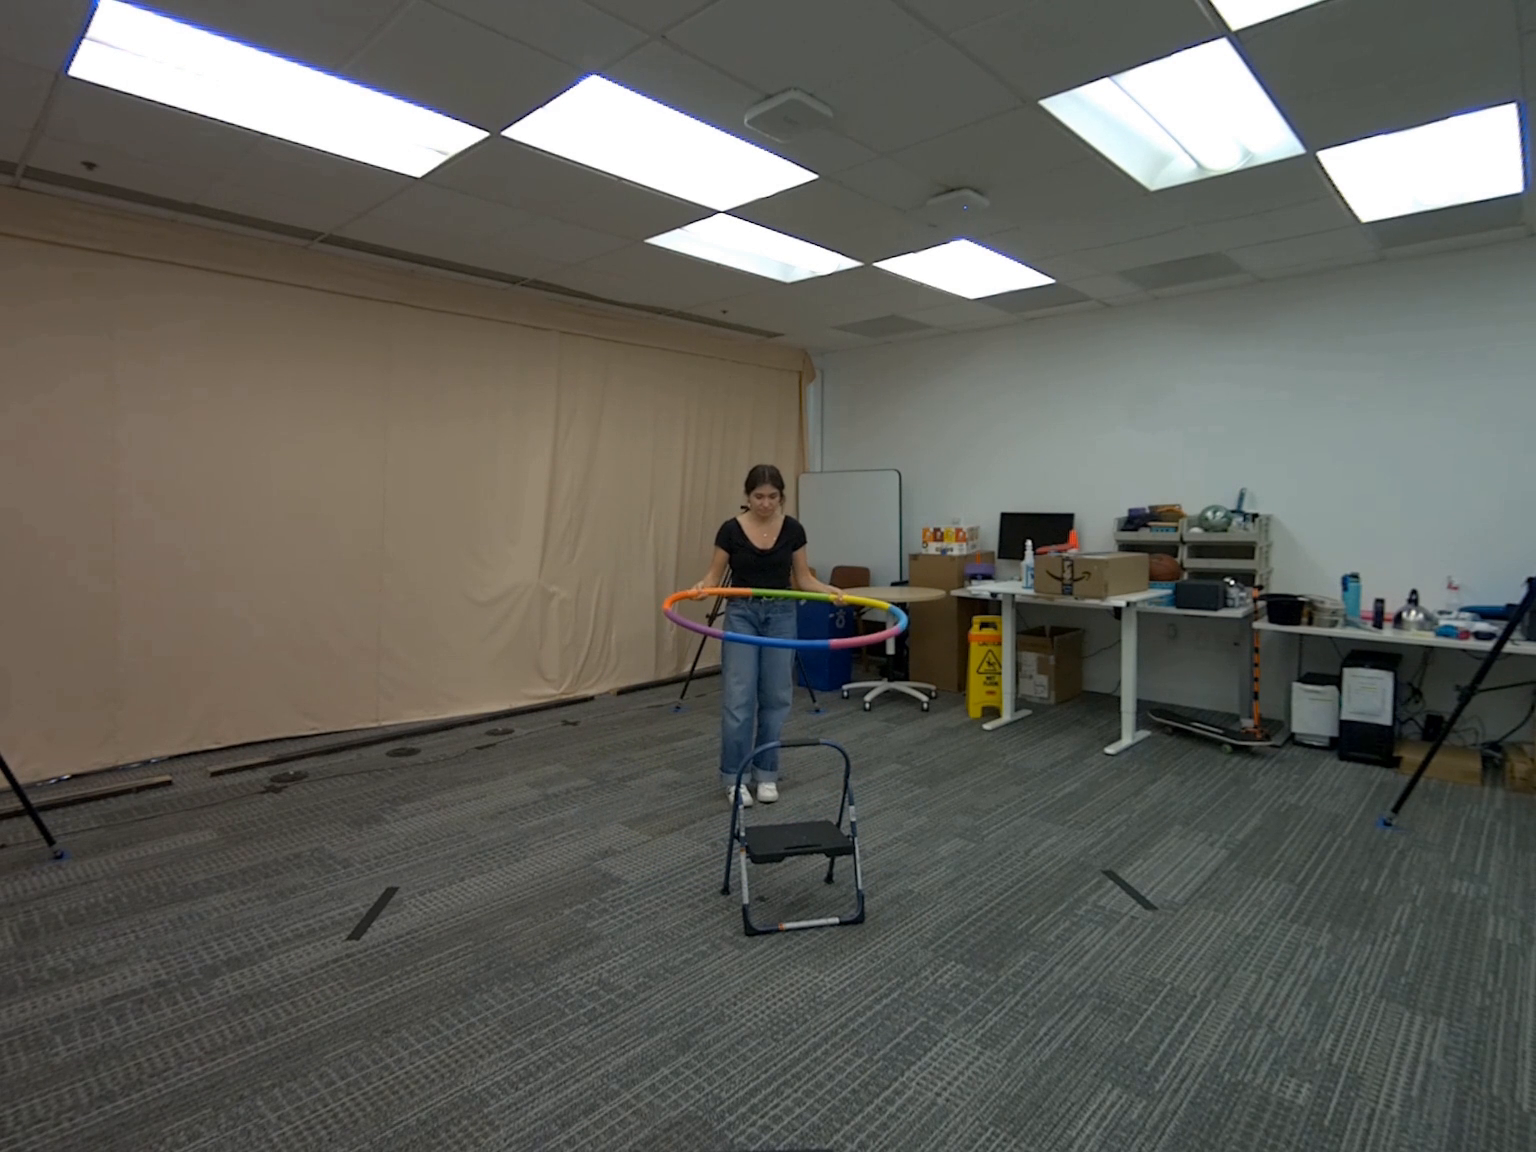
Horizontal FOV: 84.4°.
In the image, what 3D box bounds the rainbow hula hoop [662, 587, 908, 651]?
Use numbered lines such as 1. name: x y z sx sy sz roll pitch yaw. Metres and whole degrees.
1. rainbow hula hoop: 0.077 0.157 3.429 0.978 0.035 0.985 1 10 -2
